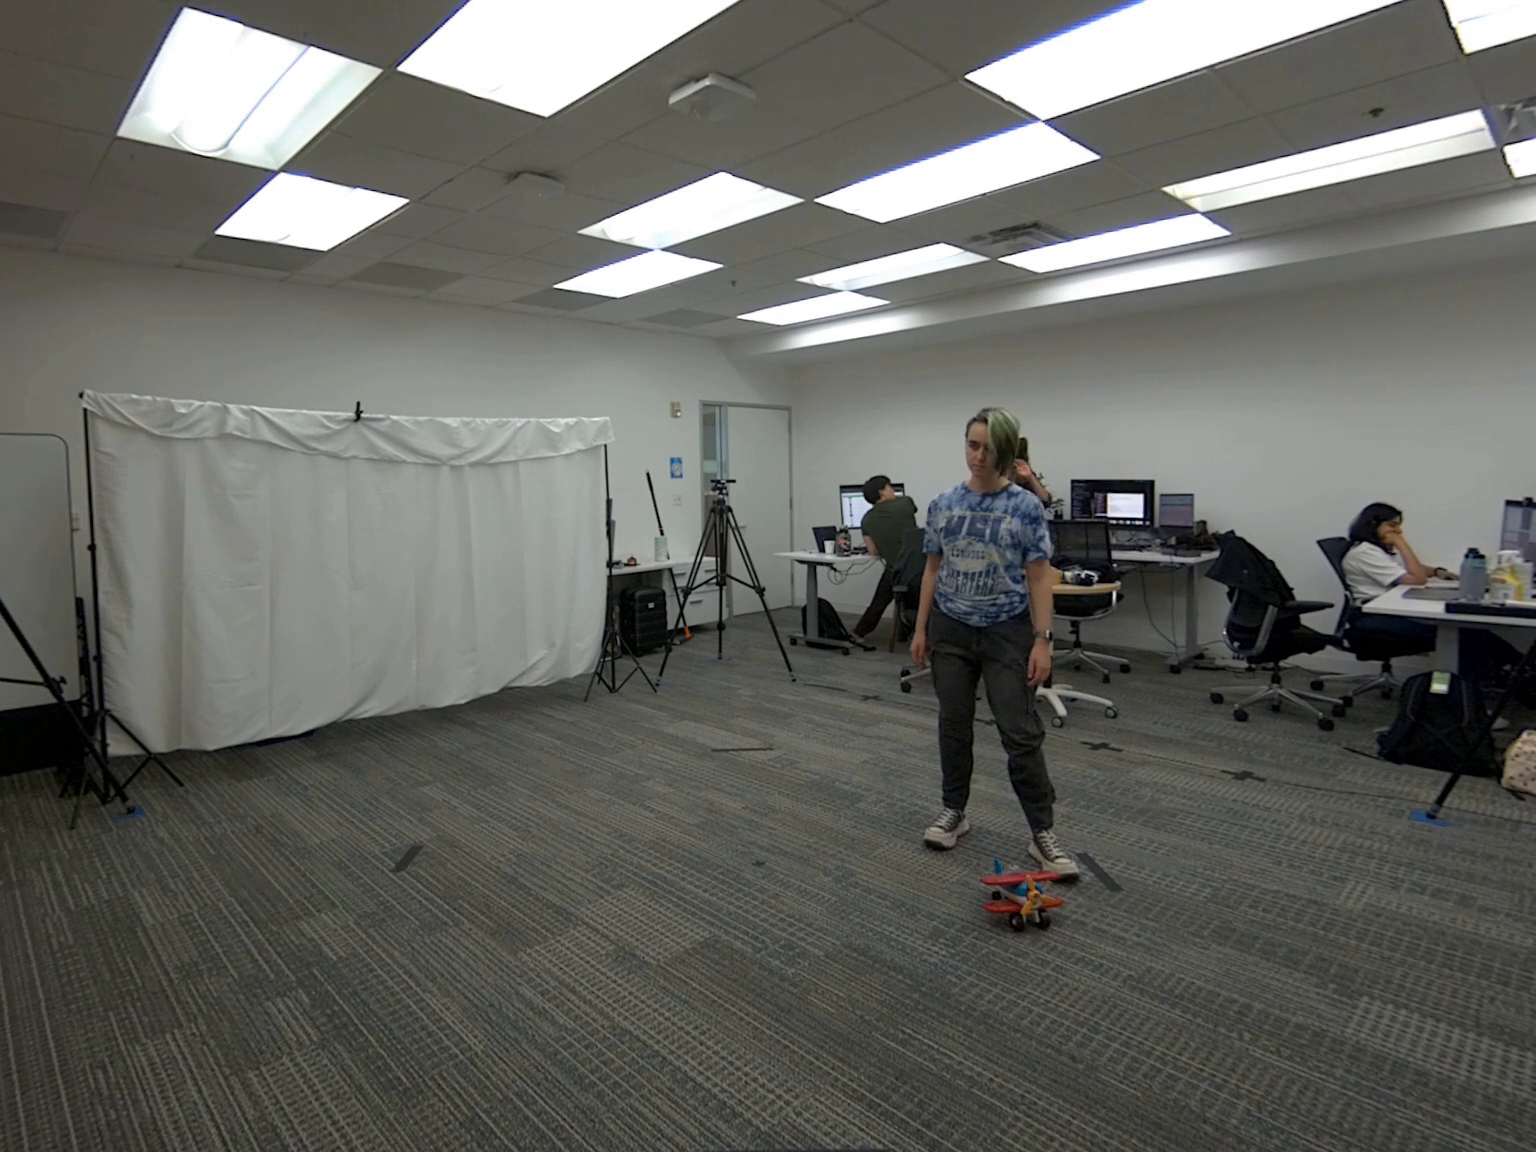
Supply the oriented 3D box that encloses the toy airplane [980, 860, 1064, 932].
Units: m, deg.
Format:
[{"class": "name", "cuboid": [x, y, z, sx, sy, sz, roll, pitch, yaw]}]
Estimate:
[{"class": "toy airplane", "cuboid": [0.770, 1.009, 2.704, 0.244, 0.155, 0.267, -5, 8, -38]}]
